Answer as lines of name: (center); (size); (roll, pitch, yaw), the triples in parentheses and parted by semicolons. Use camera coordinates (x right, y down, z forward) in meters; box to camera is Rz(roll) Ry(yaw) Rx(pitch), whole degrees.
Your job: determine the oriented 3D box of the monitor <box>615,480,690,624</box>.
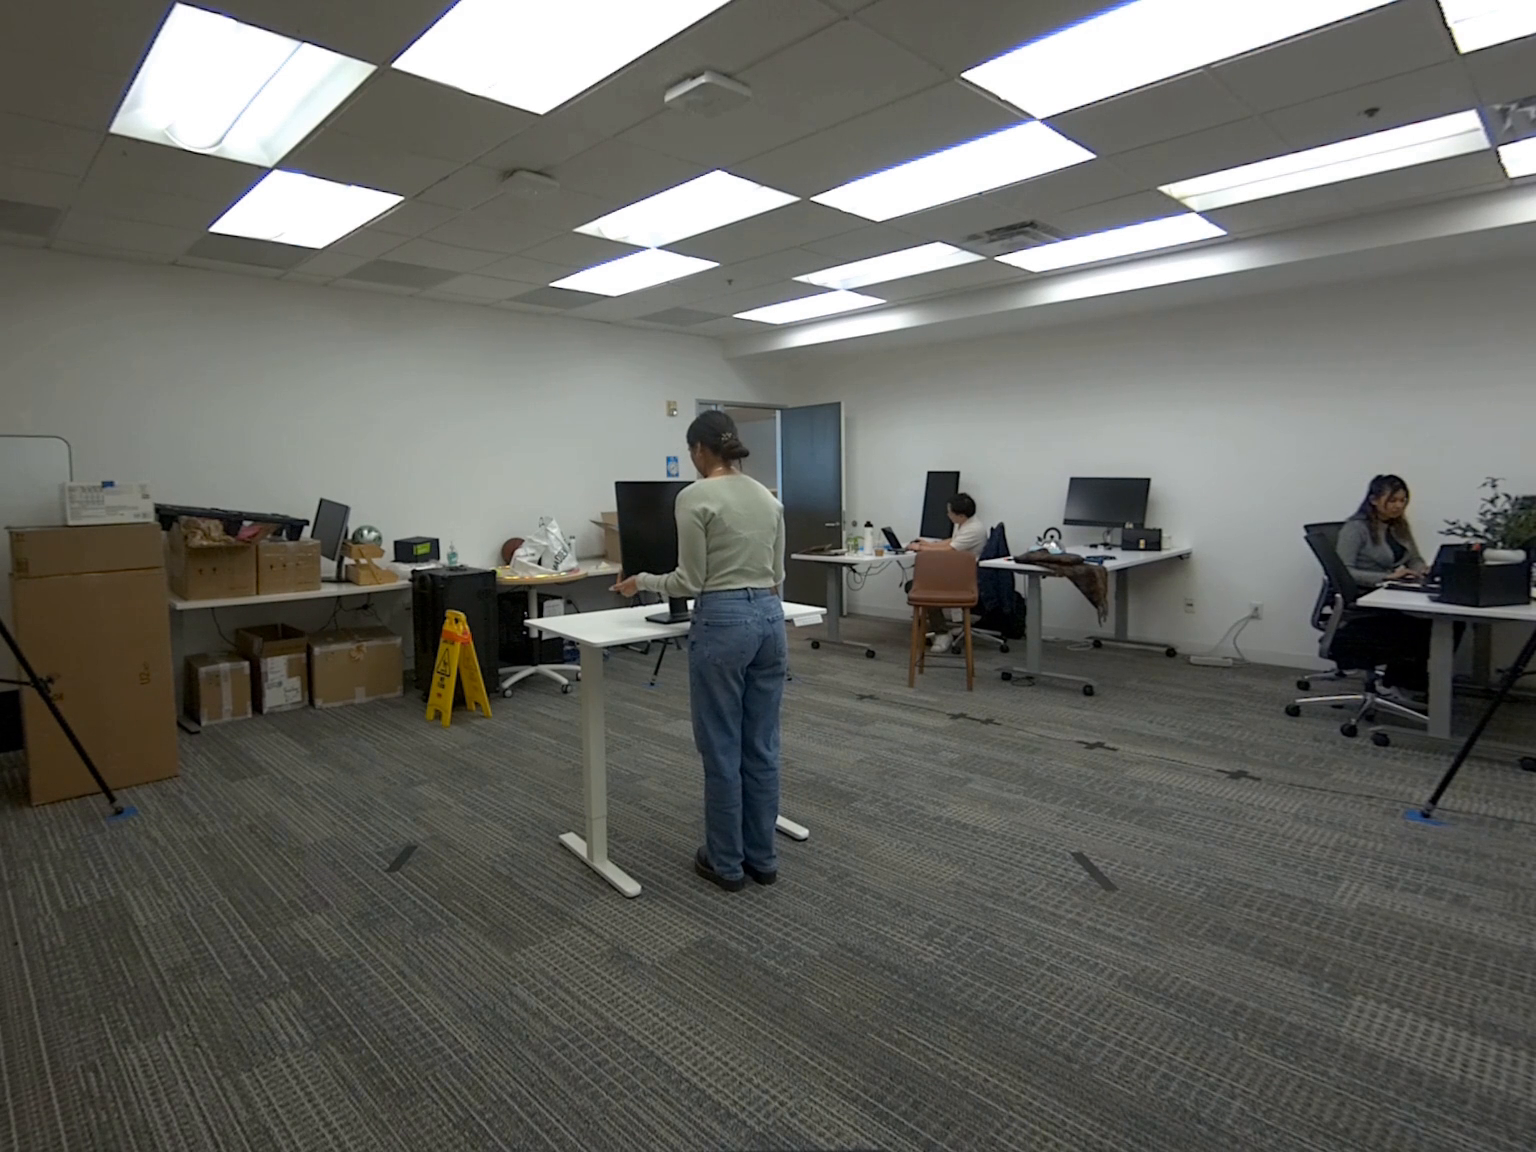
monitor: (-0.326, -0.090, 3.180); (0.525, 0.520, 0.193); (-5, 6, -39)
